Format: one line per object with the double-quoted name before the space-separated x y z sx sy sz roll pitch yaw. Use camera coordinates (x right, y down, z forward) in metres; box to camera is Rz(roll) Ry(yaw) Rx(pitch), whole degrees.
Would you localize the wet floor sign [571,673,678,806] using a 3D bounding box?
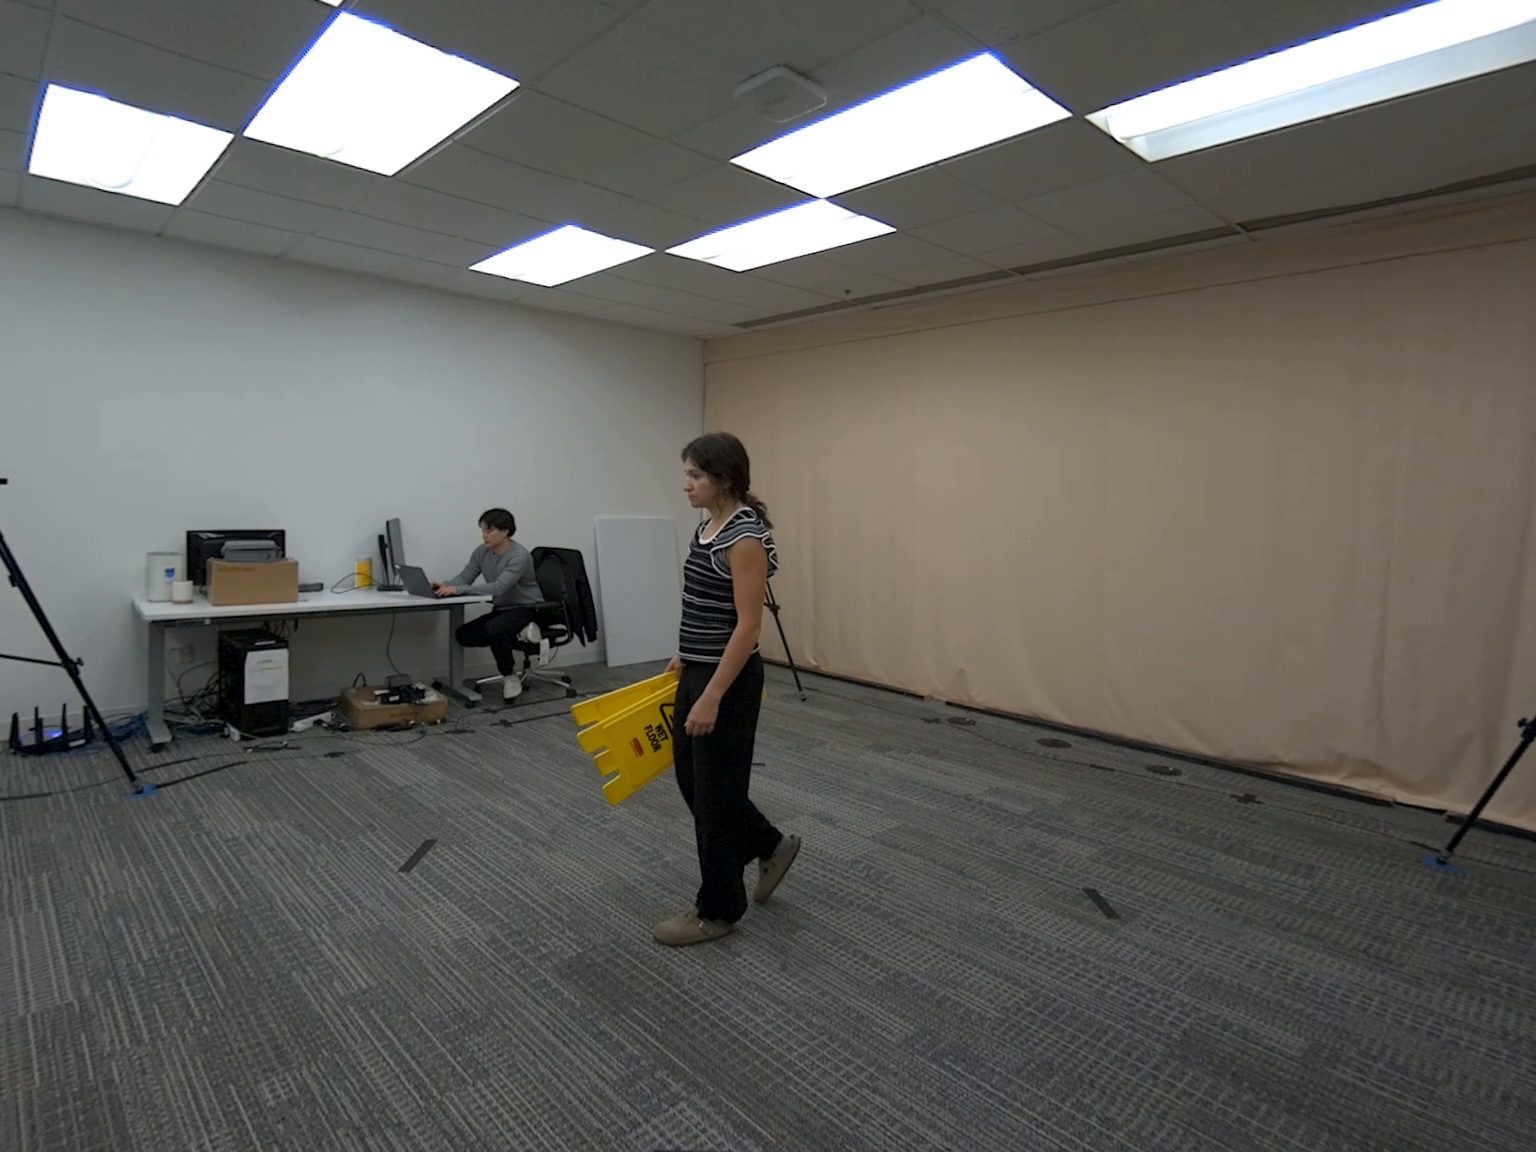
"wet floor sign" -0.328 0.475 2.943 0.643 0.278 0.295 -25 14 -12
